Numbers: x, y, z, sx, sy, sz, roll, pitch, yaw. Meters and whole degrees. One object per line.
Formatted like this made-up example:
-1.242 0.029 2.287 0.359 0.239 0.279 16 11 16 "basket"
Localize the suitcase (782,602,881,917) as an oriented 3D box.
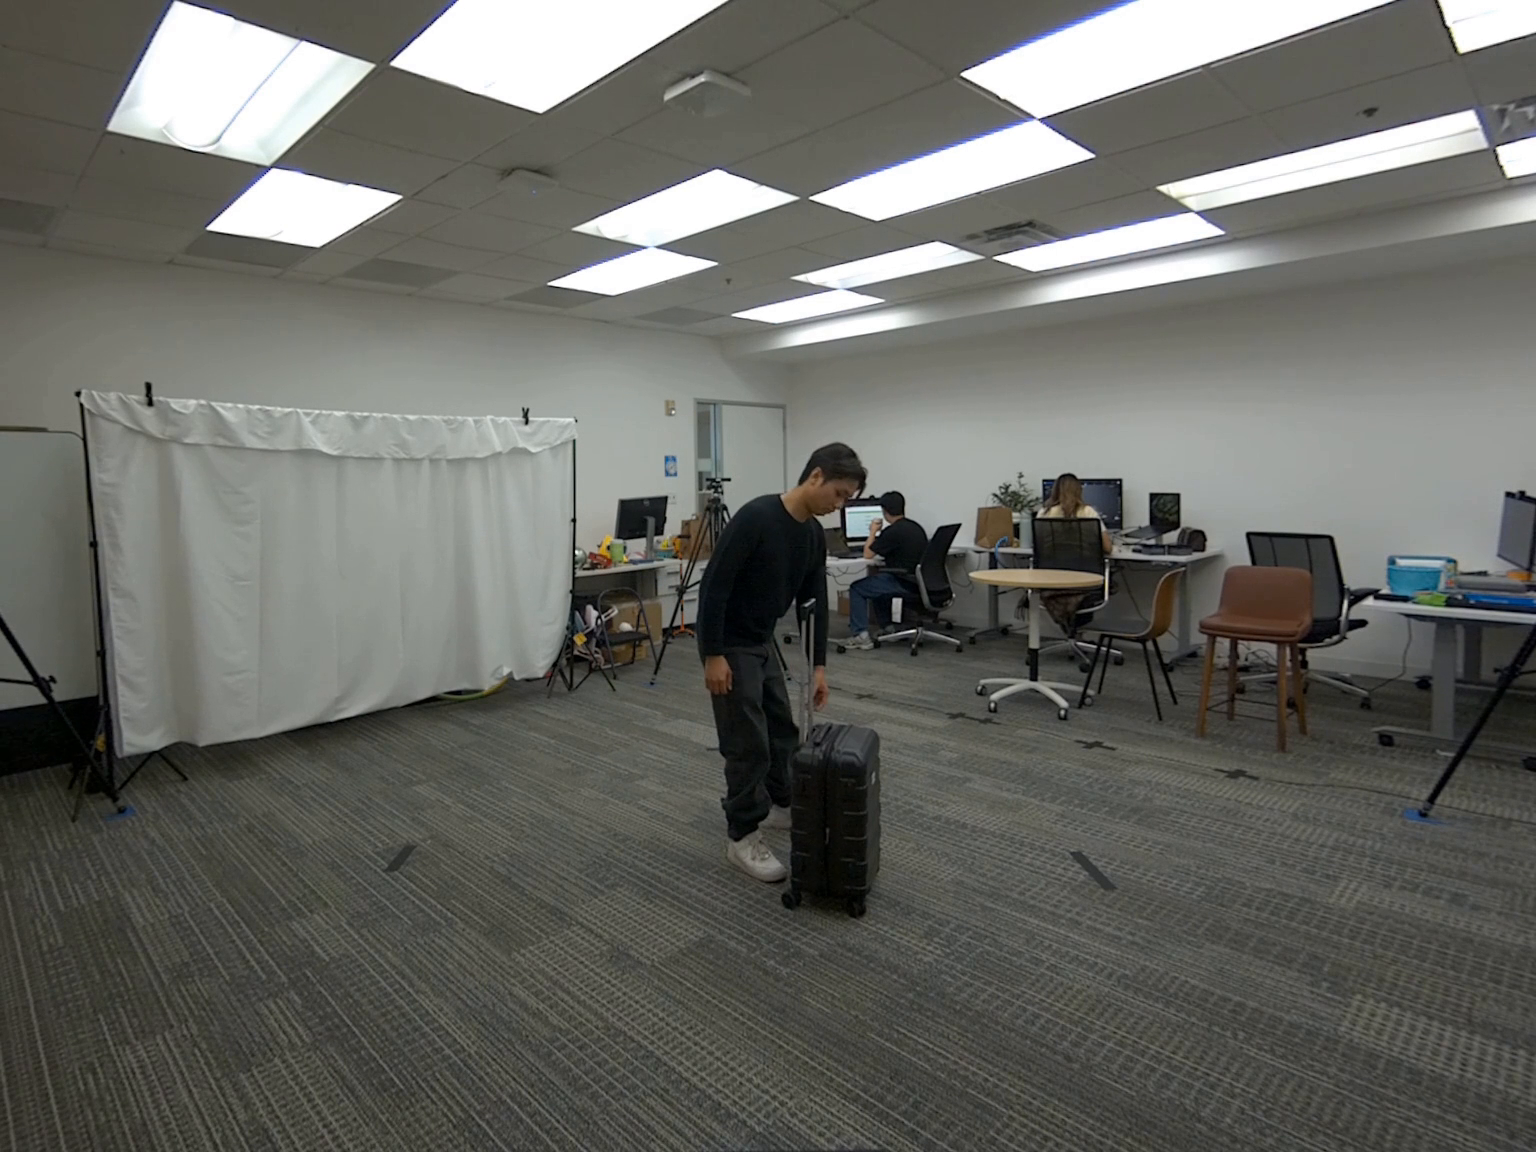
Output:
0.245 0.588 2.838 0.261 0.974 0.380 3 5 14 "suitcase"
